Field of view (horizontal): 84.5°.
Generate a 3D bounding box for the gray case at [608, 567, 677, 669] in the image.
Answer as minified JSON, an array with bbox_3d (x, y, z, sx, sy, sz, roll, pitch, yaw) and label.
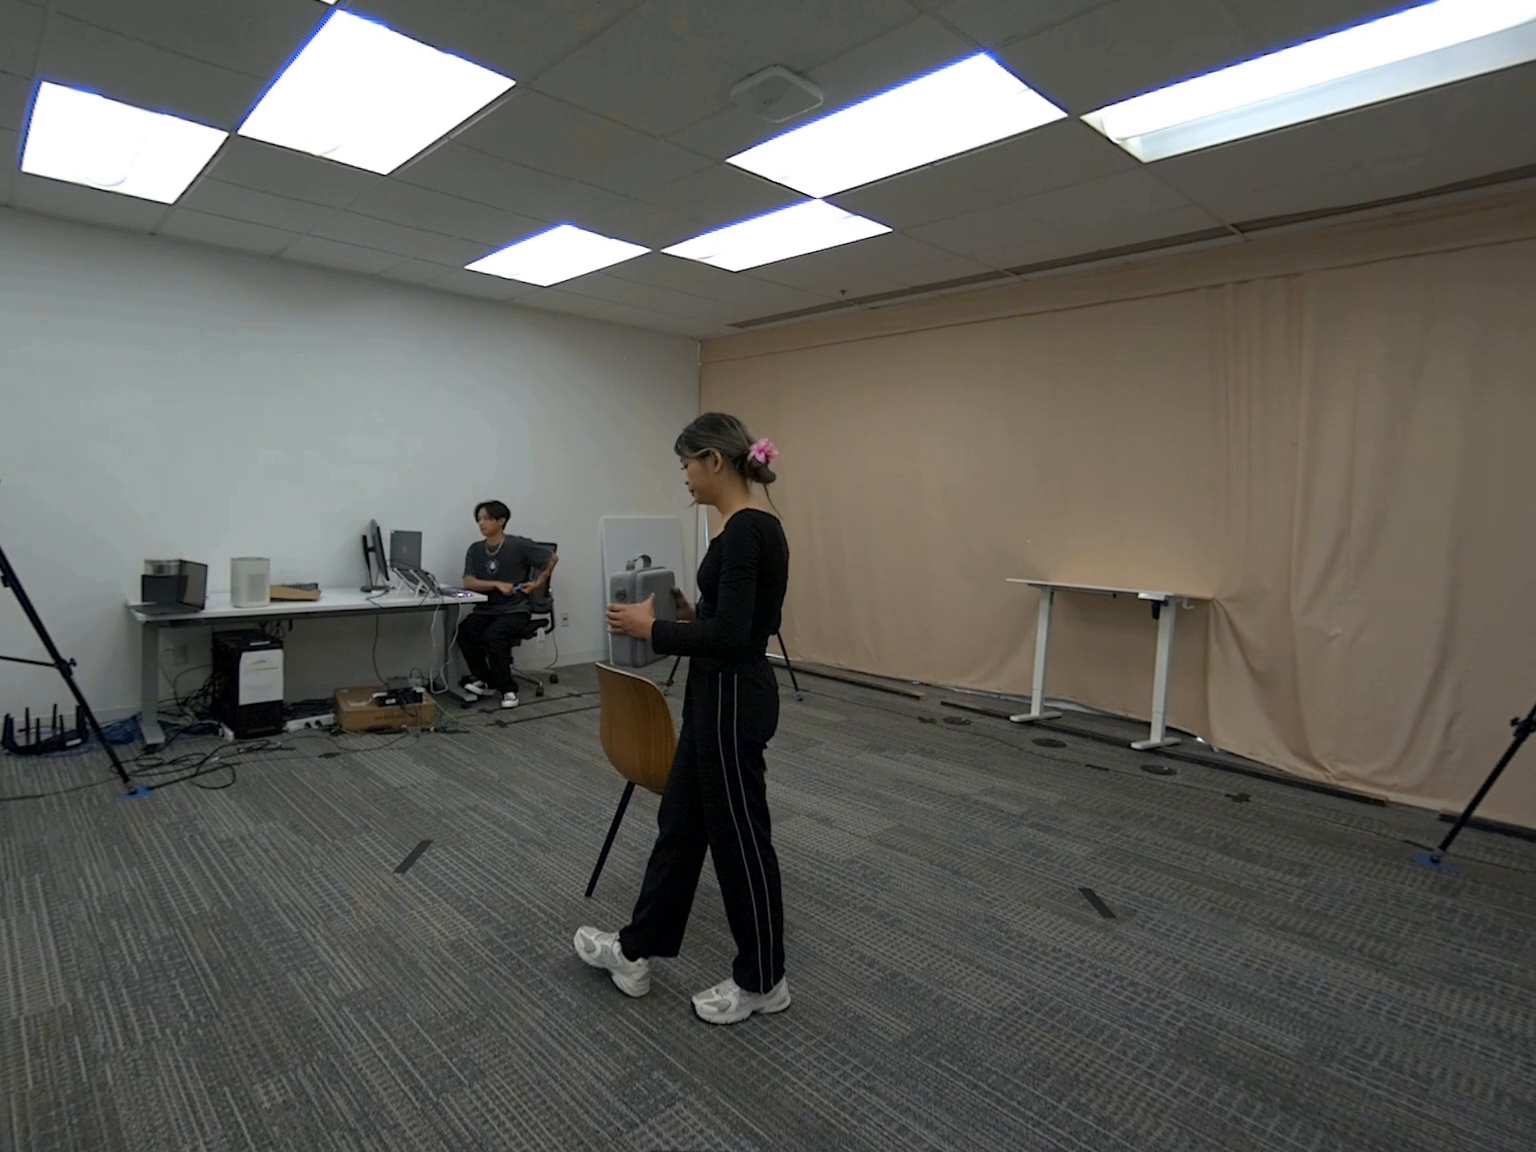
[{"bbox_3d":[-0.343,0.104,2.288,0.105,0.260,0.254,-4,1,15],"label":"gray case"}]
